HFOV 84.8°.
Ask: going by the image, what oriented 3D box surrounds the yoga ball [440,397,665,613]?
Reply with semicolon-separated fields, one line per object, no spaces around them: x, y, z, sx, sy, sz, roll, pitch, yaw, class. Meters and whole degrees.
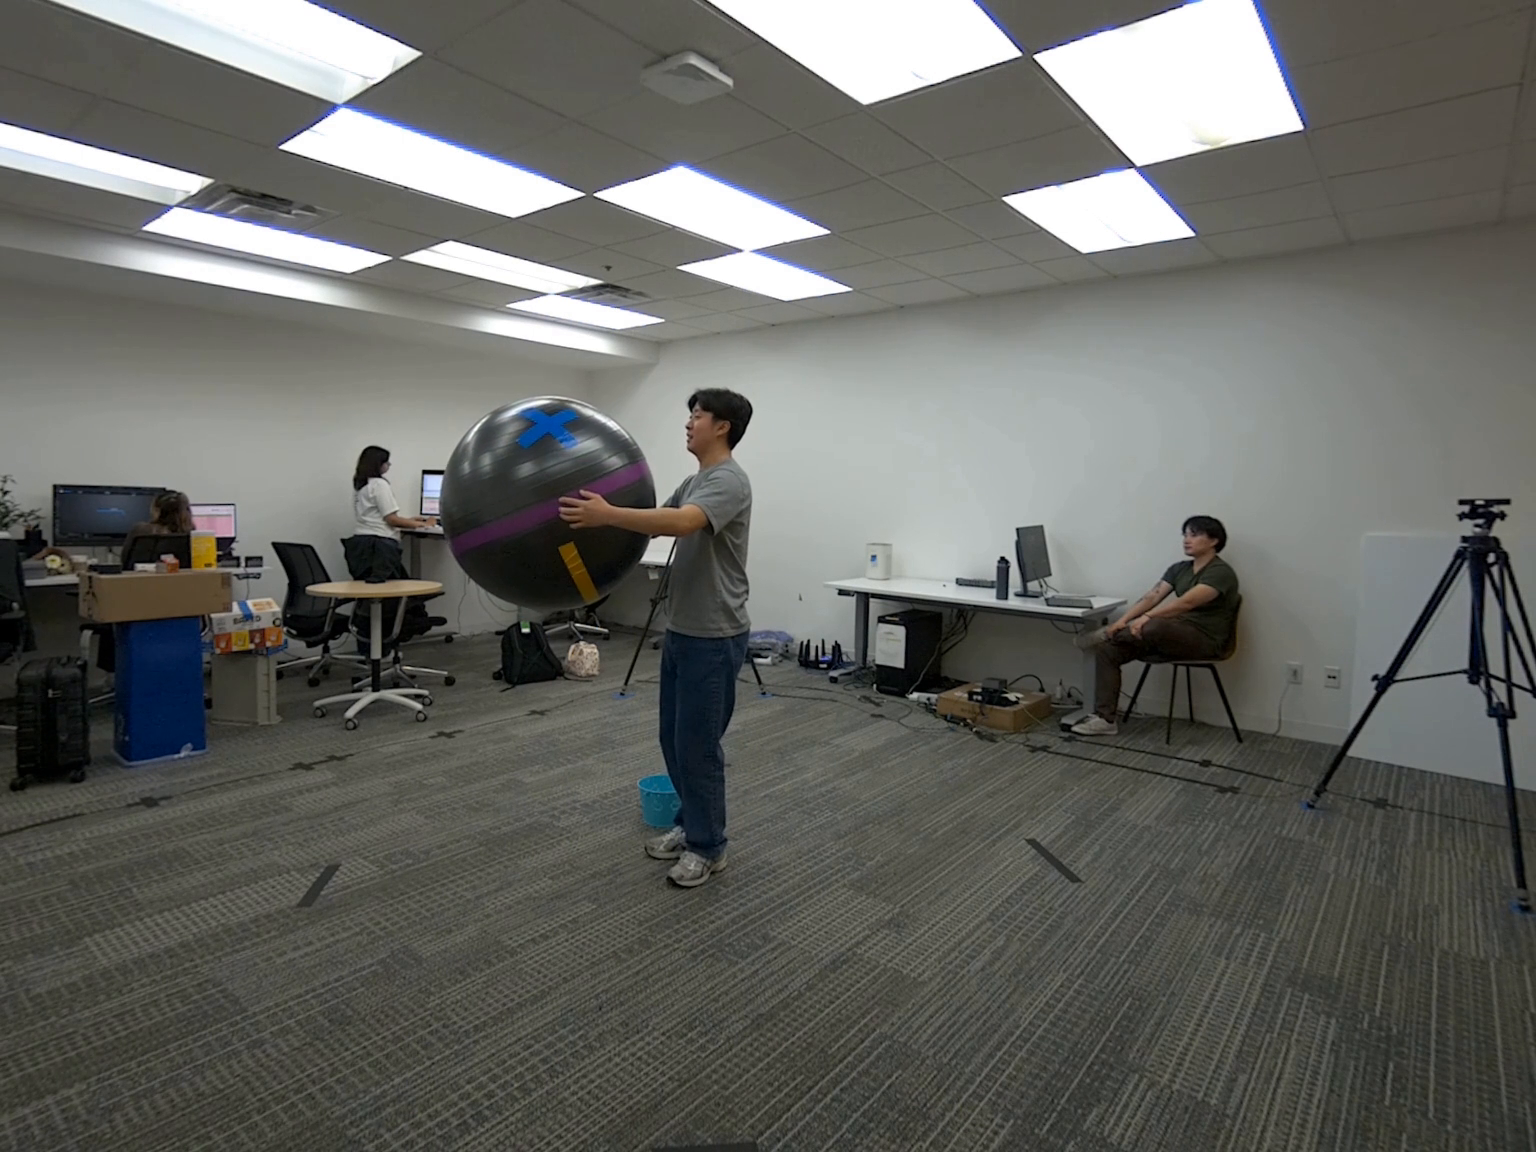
-0.811;-0.252;3.040;0.757;0.756;0.761;1;4;-2;yoga ball
